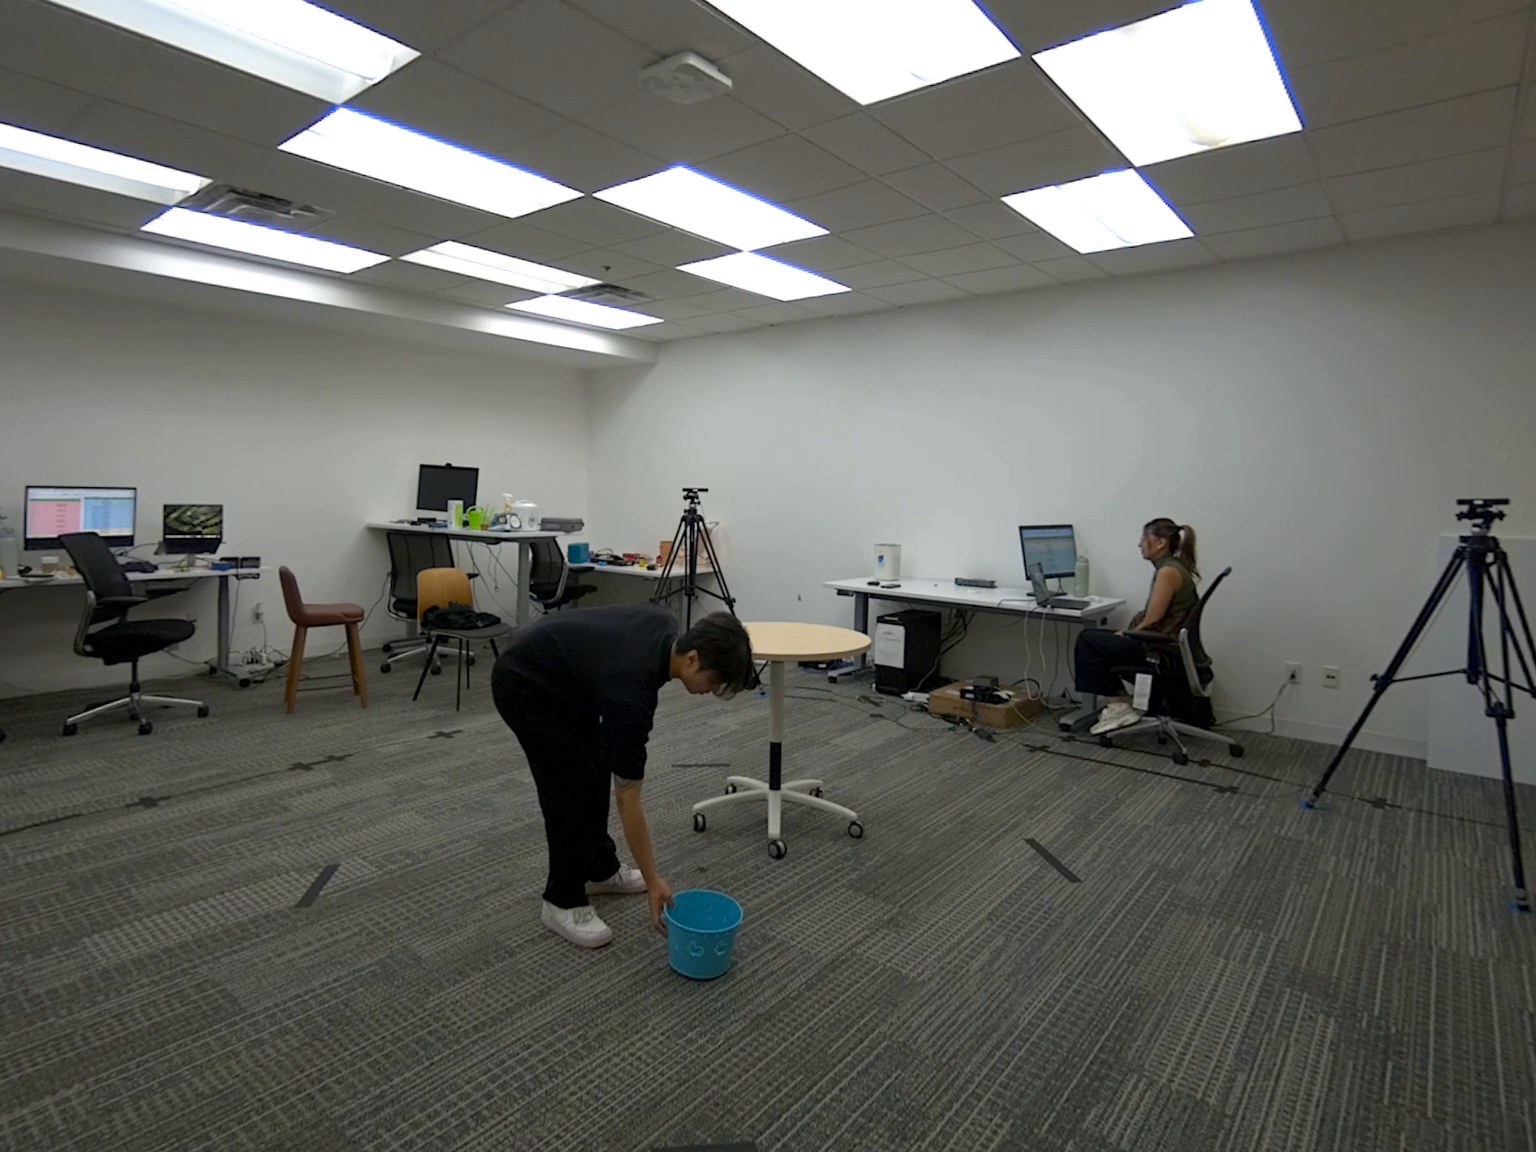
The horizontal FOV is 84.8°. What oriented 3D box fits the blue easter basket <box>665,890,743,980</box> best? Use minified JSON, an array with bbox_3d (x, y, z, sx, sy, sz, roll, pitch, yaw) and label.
[{"bbox_3d":[-0.193,1.043,2.473,0.243,0.155,0.245,5,6,-2],"label":"blue easter basket"}]
